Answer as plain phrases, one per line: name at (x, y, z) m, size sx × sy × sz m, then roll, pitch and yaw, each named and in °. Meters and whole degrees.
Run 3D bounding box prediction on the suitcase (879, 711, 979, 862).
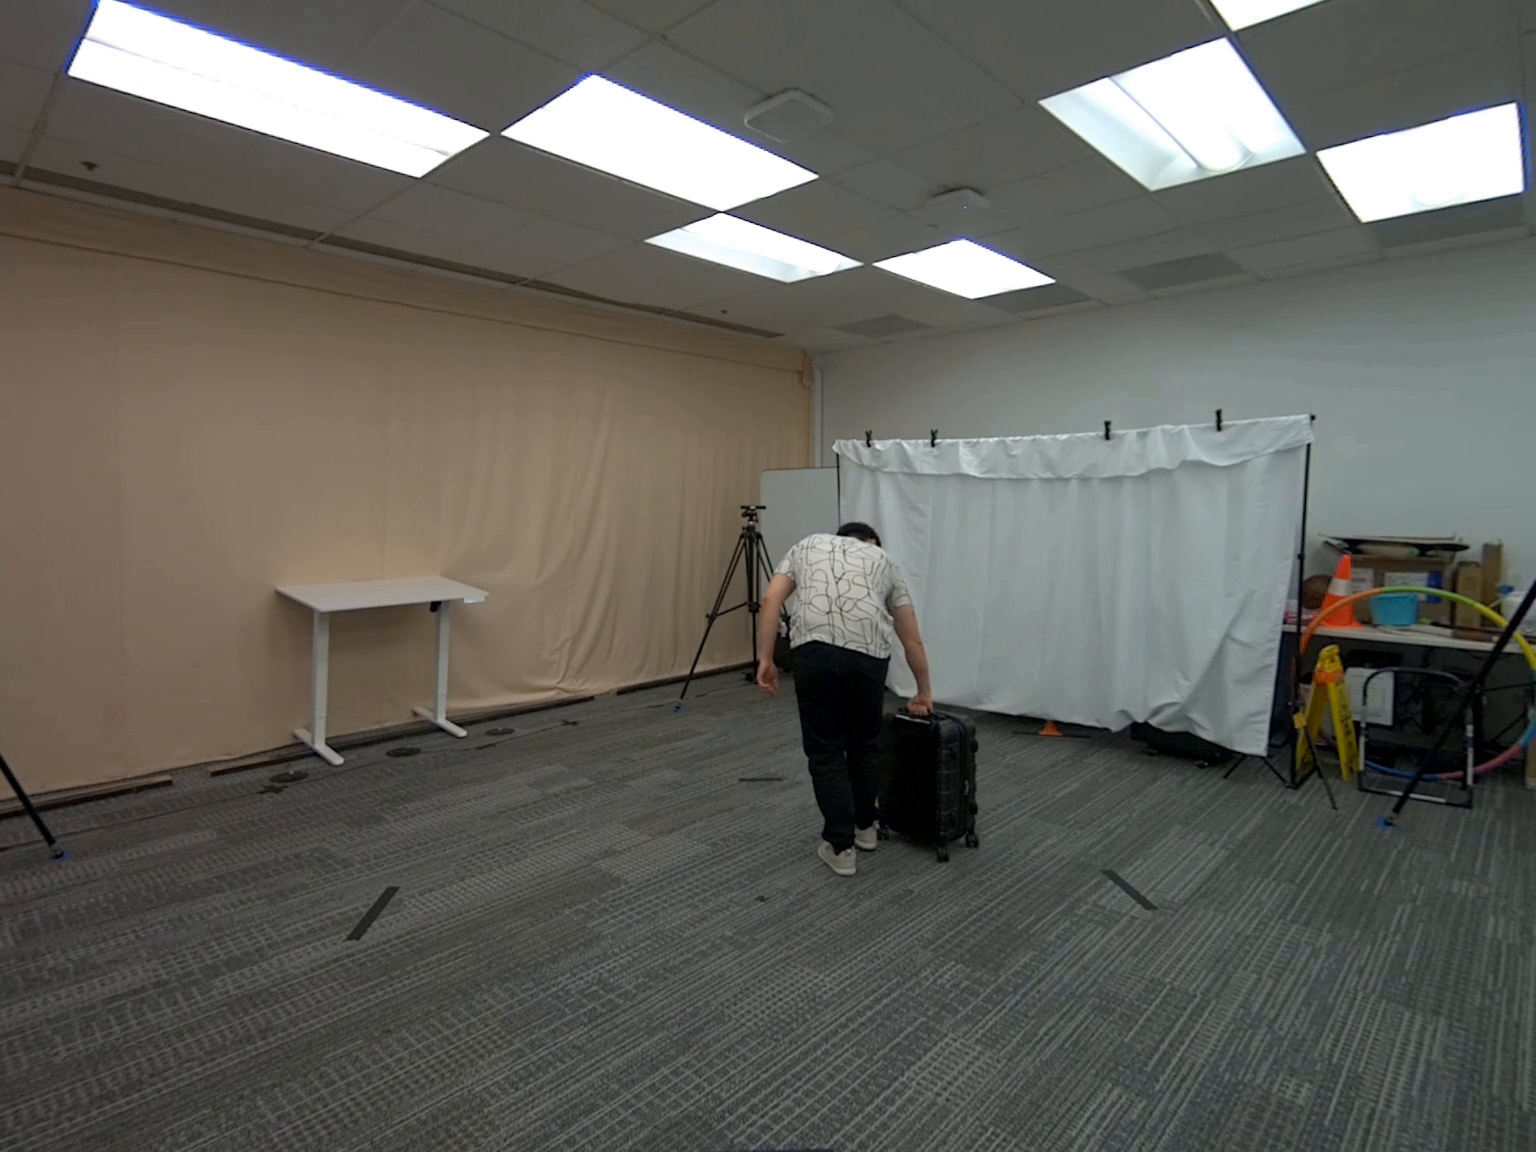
suitcase at (0.662, 0.824, 3.492) m, size 0.240 × 0.549 × 0.388 m, roll 0°, pitch 1°, yaw -43°
